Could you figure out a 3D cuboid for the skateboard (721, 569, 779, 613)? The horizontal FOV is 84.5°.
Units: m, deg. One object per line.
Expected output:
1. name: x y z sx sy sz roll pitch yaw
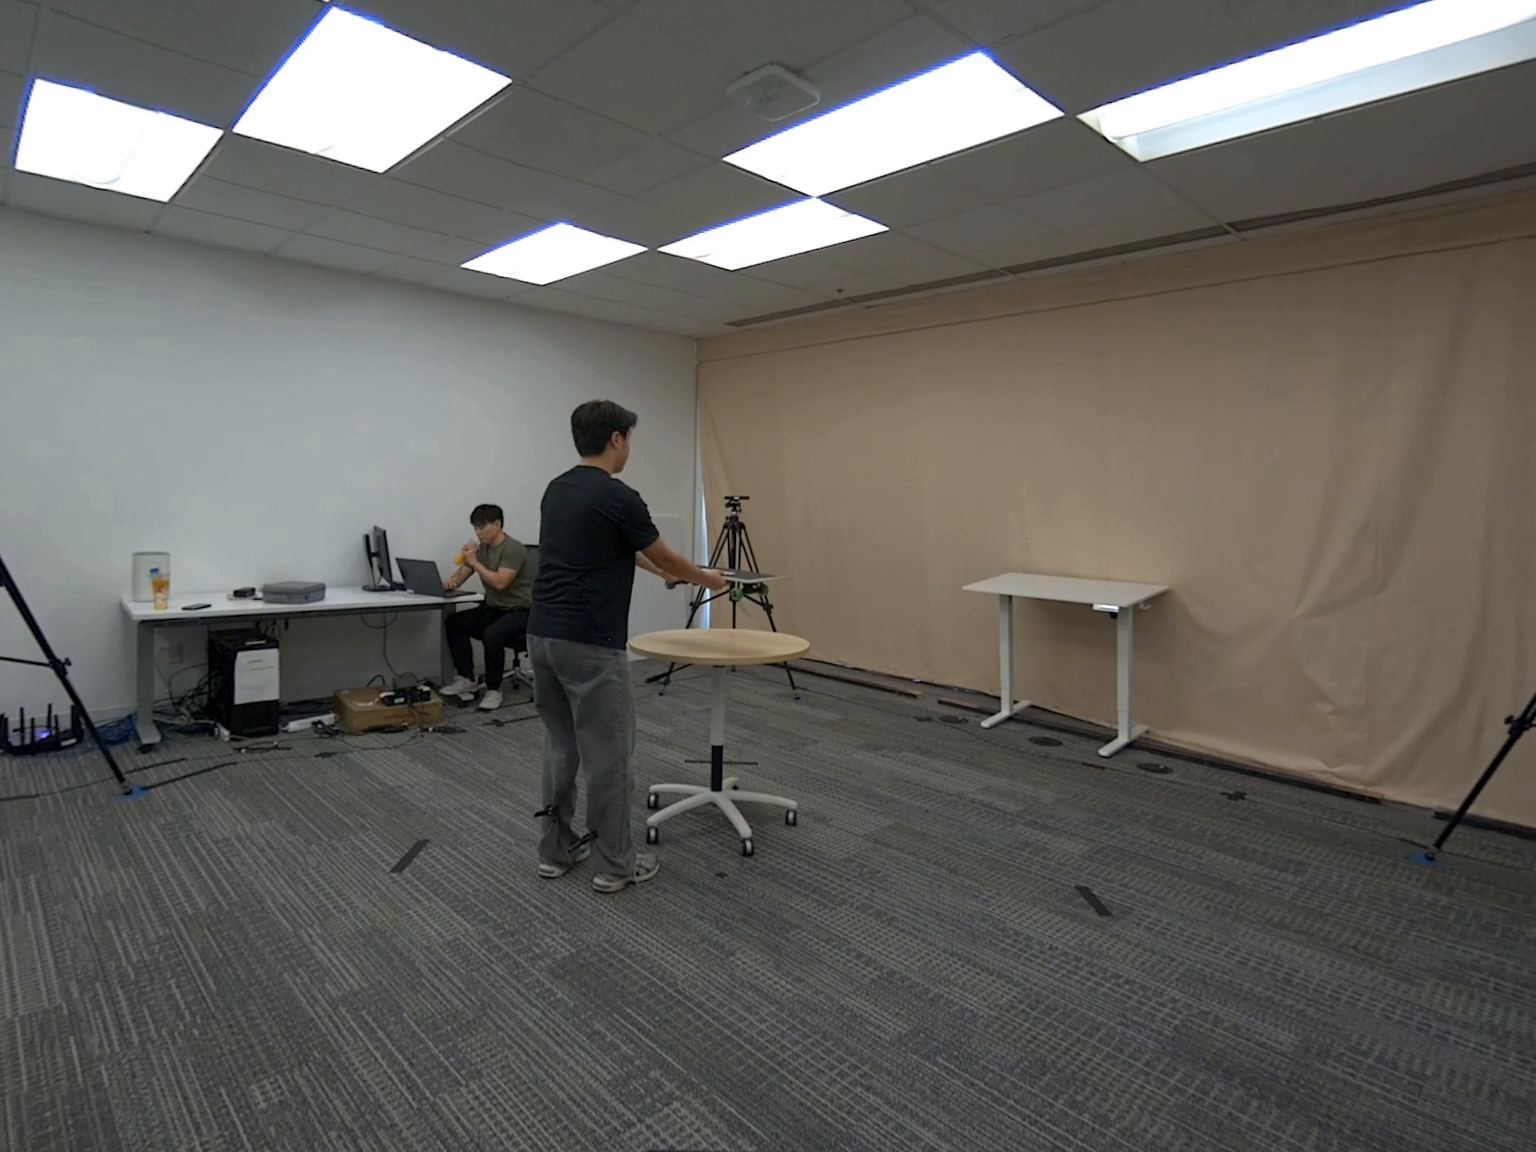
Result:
1. skateboard: -0.226 0.024 3.511 0.806 0.110 0.189 8 9 44
